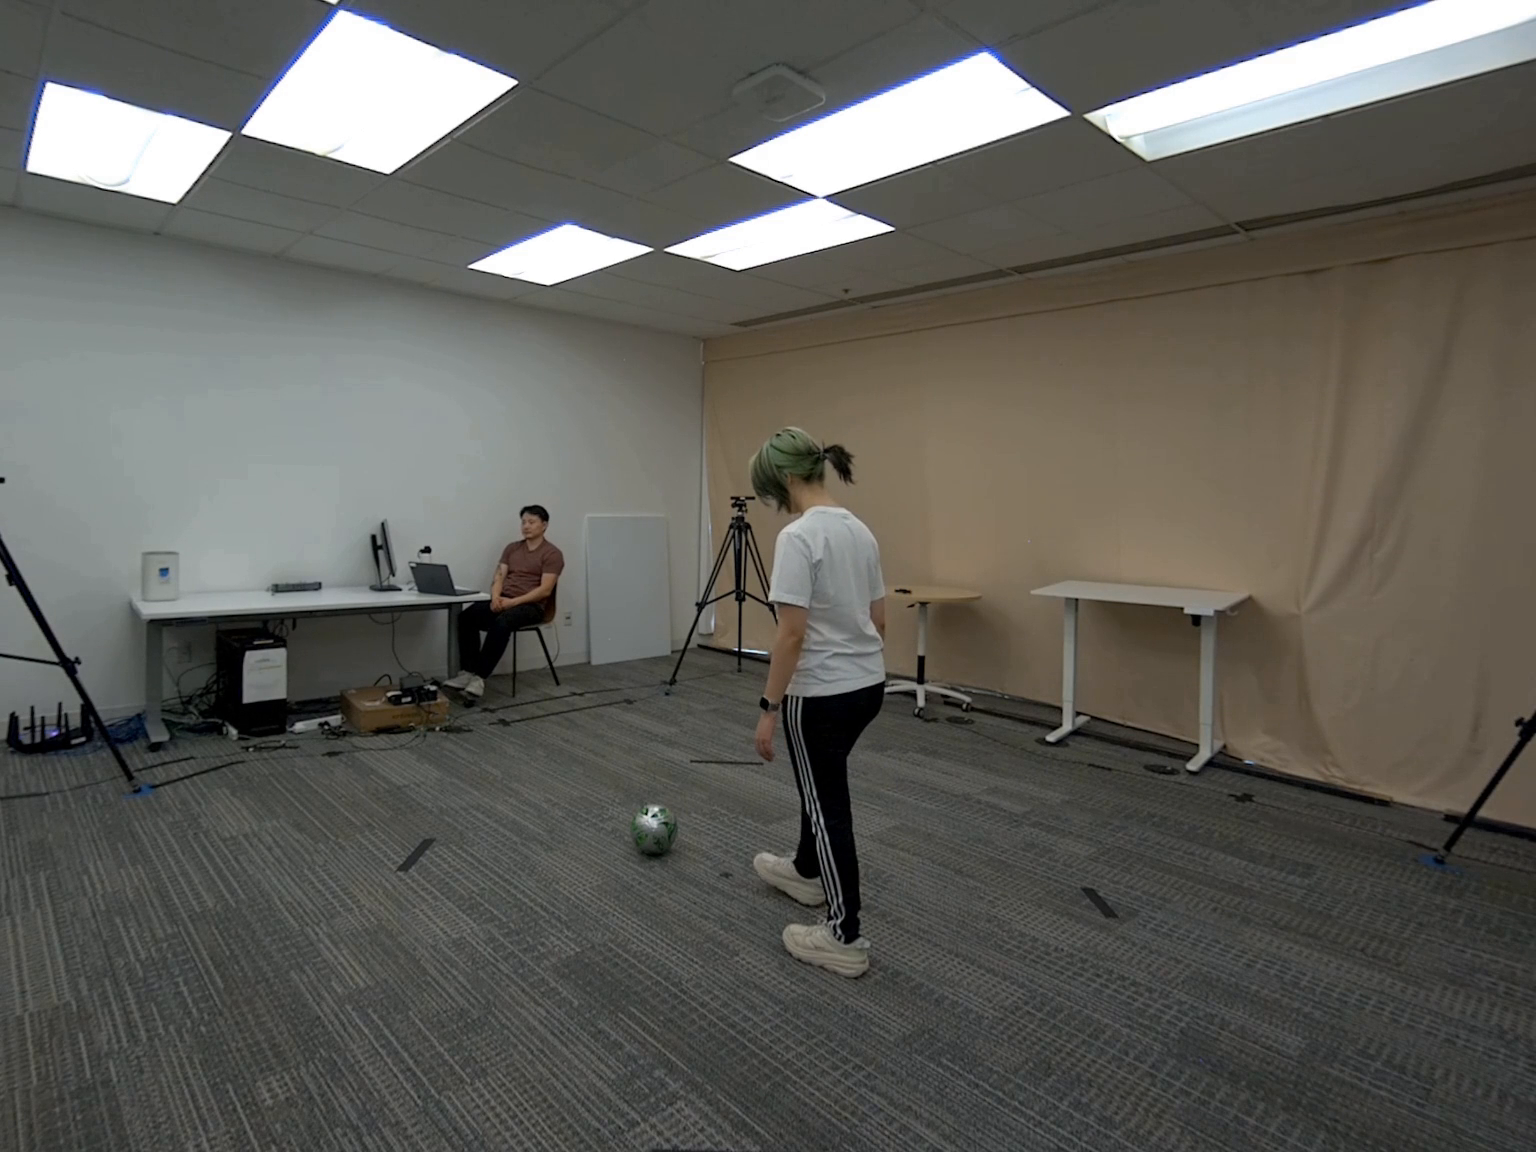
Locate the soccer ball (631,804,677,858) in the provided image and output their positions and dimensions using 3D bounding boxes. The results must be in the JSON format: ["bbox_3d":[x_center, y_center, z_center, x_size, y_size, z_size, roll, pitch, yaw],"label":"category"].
[{"bbox_3d":[-0.448,0.988,3.283,0.187,0.187,0.188,1,4,-1],"label":"soccer ball"}]
